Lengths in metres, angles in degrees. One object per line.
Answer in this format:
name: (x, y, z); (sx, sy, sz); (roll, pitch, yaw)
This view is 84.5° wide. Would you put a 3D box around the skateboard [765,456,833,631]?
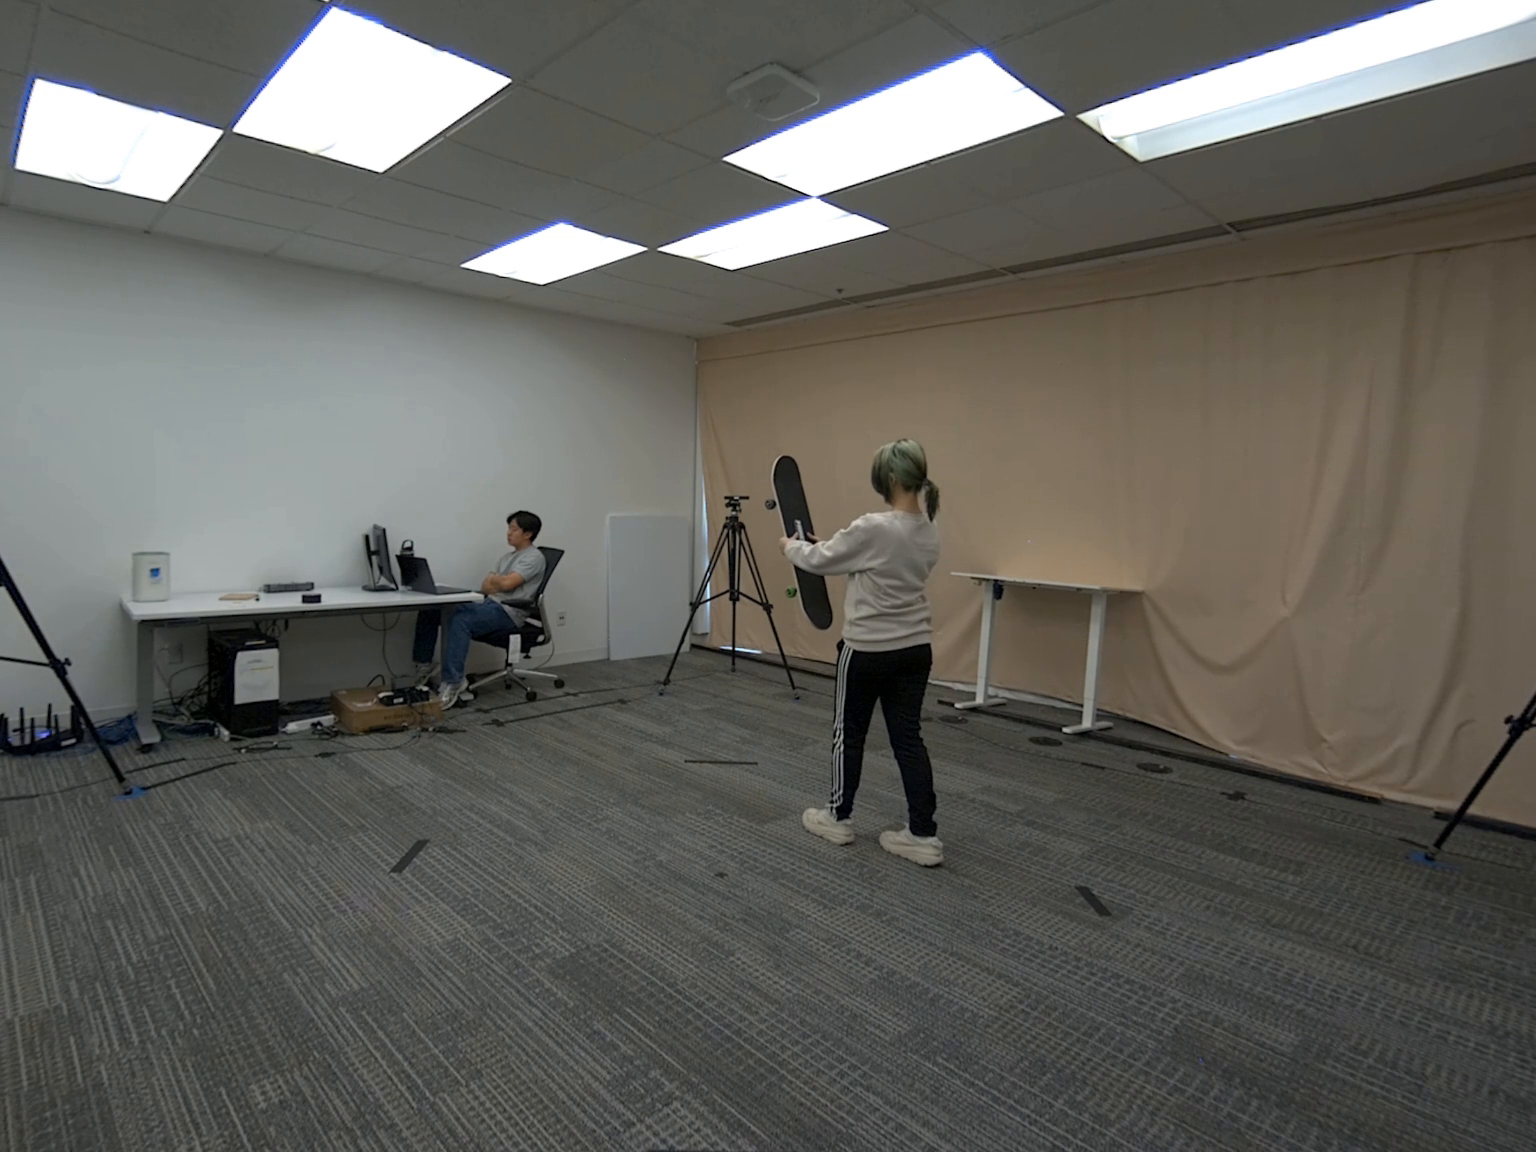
skateboard: (0.121, -0.143, 3.743); (0.112, 0.787, 0.190); (-15, -3, 43)
